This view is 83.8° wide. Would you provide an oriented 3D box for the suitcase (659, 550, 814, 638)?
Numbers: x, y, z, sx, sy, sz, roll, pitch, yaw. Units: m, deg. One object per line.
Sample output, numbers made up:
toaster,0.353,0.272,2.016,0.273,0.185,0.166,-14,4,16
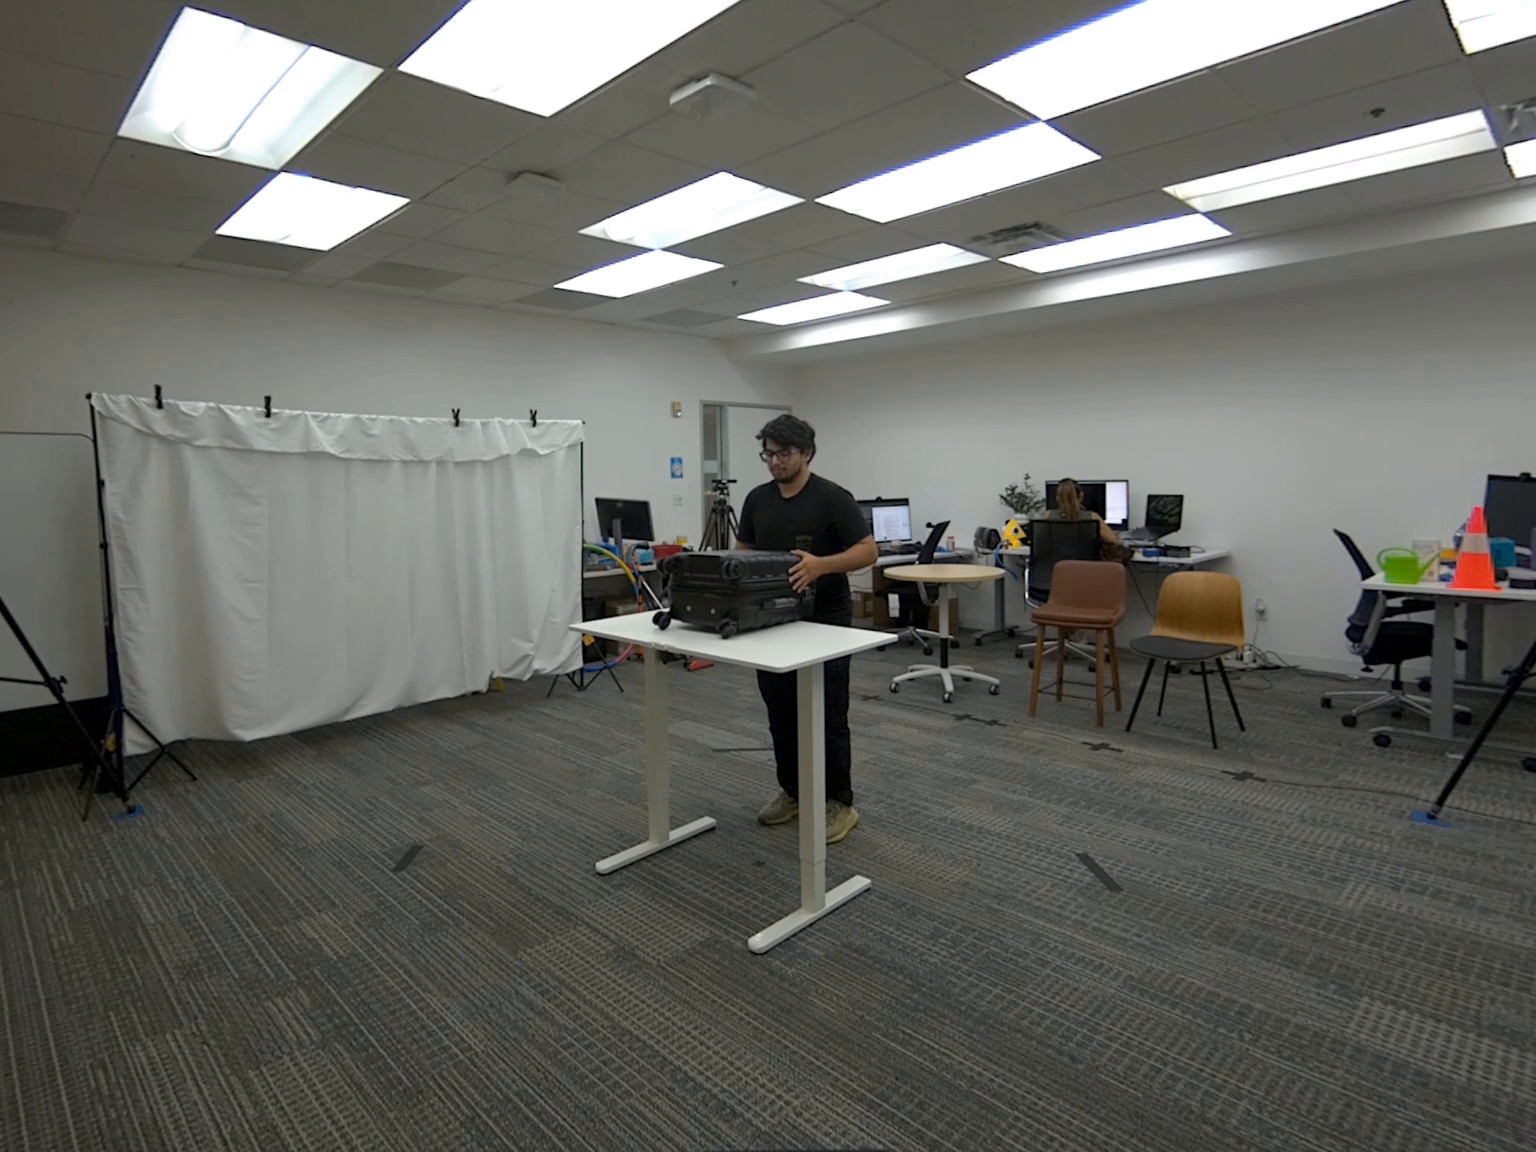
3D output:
suitcase,-0.095,0.046,3.050,0.387,0.247,0.535,4,6,38
